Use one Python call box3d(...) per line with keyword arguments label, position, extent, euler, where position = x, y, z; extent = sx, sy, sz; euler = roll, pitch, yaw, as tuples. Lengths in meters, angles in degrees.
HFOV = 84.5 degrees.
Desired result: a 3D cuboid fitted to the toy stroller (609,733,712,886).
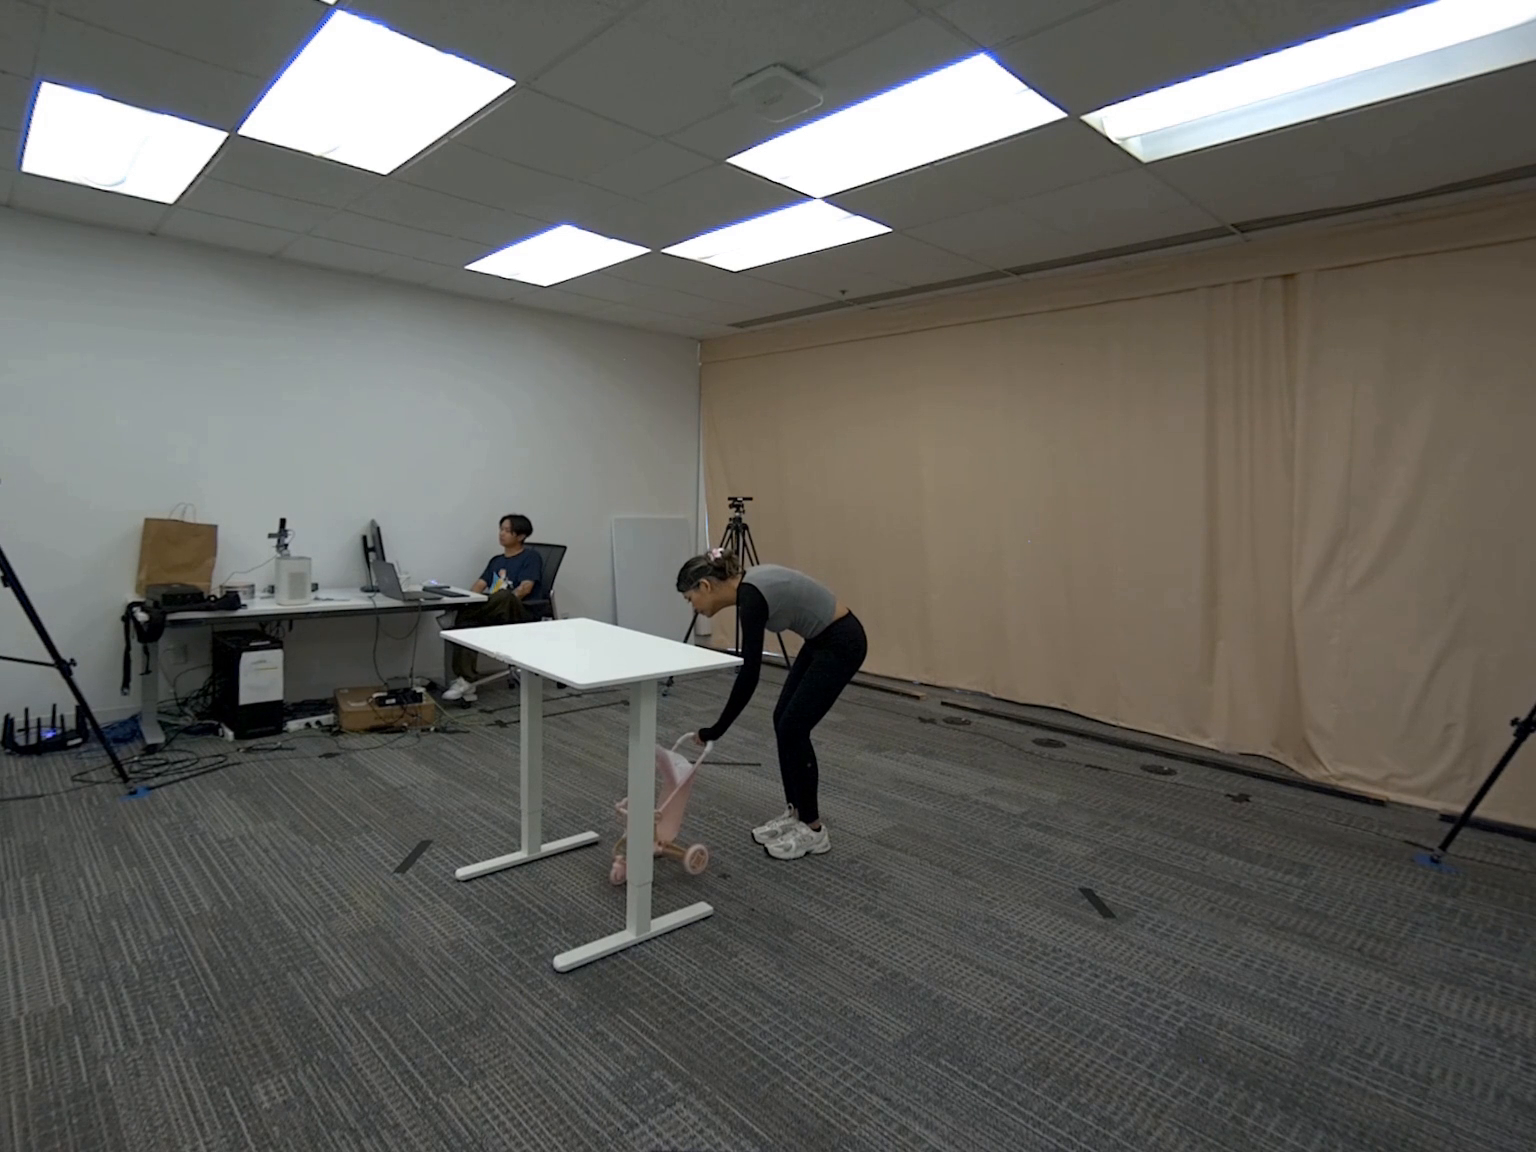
box3d(label="toy stroller", position=(-0.416, 0.863, 3.114), extent=(0.333, 0.536, 0.287), euler=(10, -5, -33))
